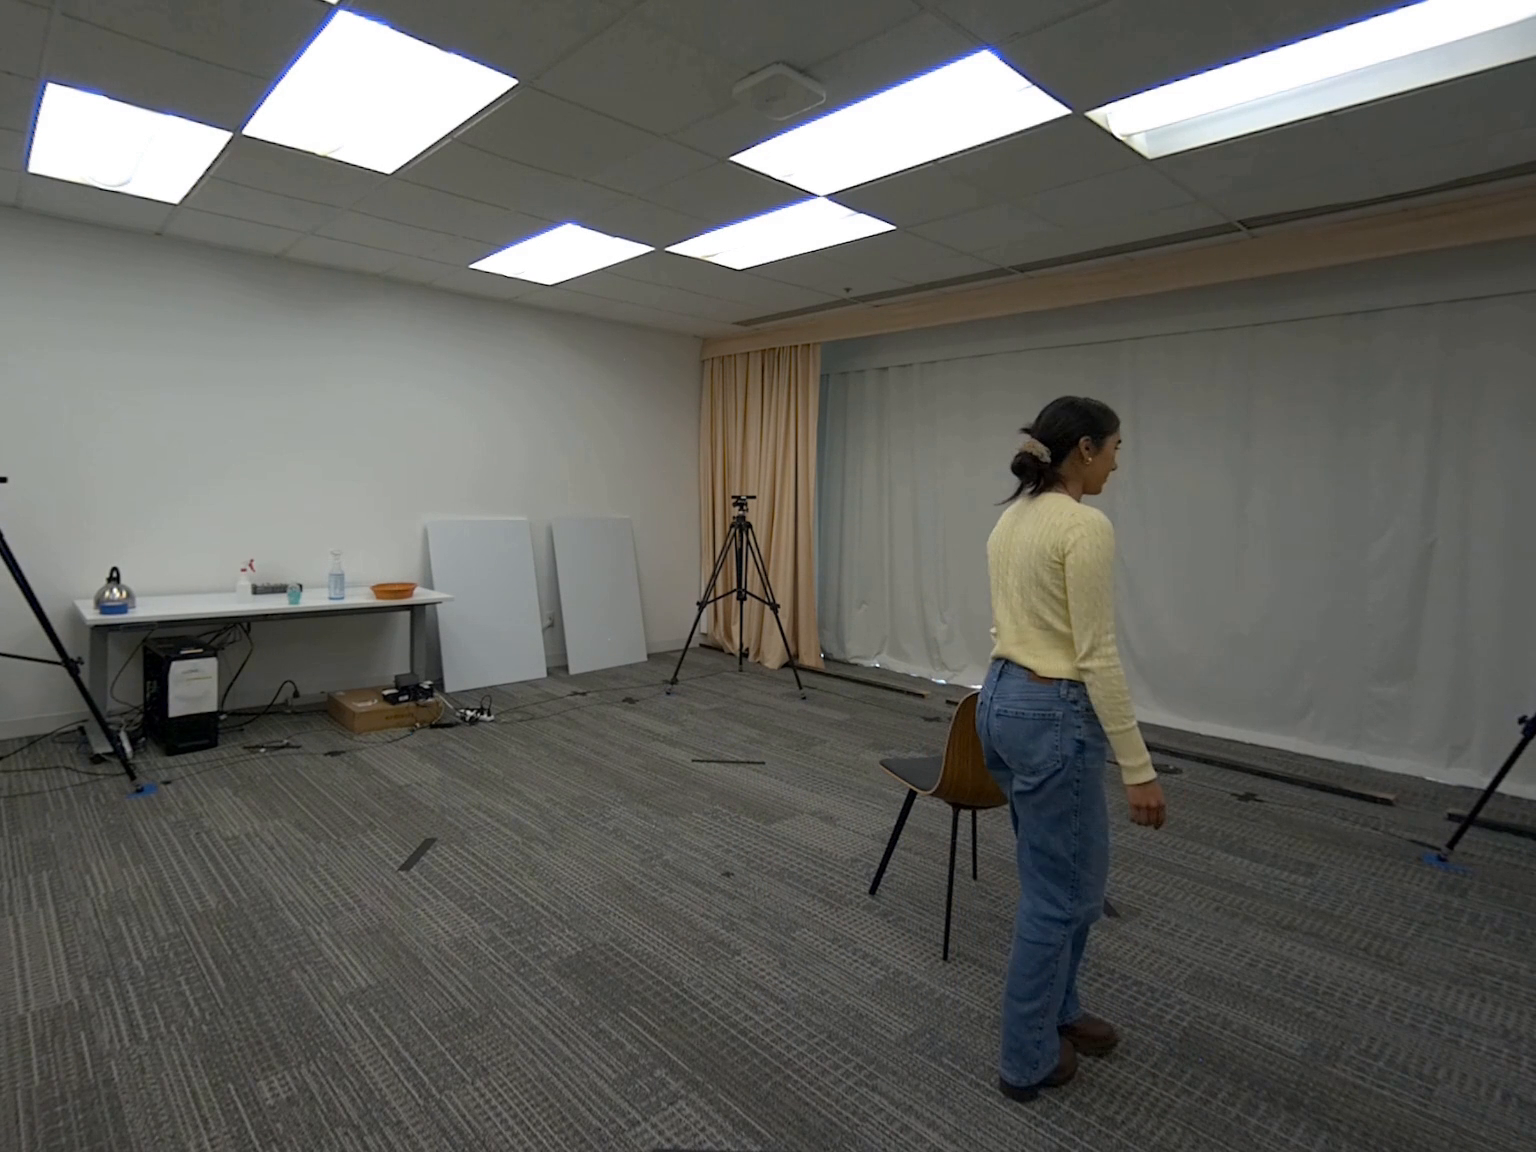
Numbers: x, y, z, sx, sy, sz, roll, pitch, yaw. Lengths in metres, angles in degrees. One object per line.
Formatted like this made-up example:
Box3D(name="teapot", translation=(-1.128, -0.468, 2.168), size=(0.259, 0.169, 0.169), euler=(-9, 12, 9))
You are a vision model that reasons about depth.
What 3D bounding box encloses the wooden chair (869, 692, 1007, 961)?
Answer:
Box3D(name="wooden chair", translation=(0.648, 0.719, 2.815), size=(0.470, 0.872, 0.534), euler=(0, 8, -22))
